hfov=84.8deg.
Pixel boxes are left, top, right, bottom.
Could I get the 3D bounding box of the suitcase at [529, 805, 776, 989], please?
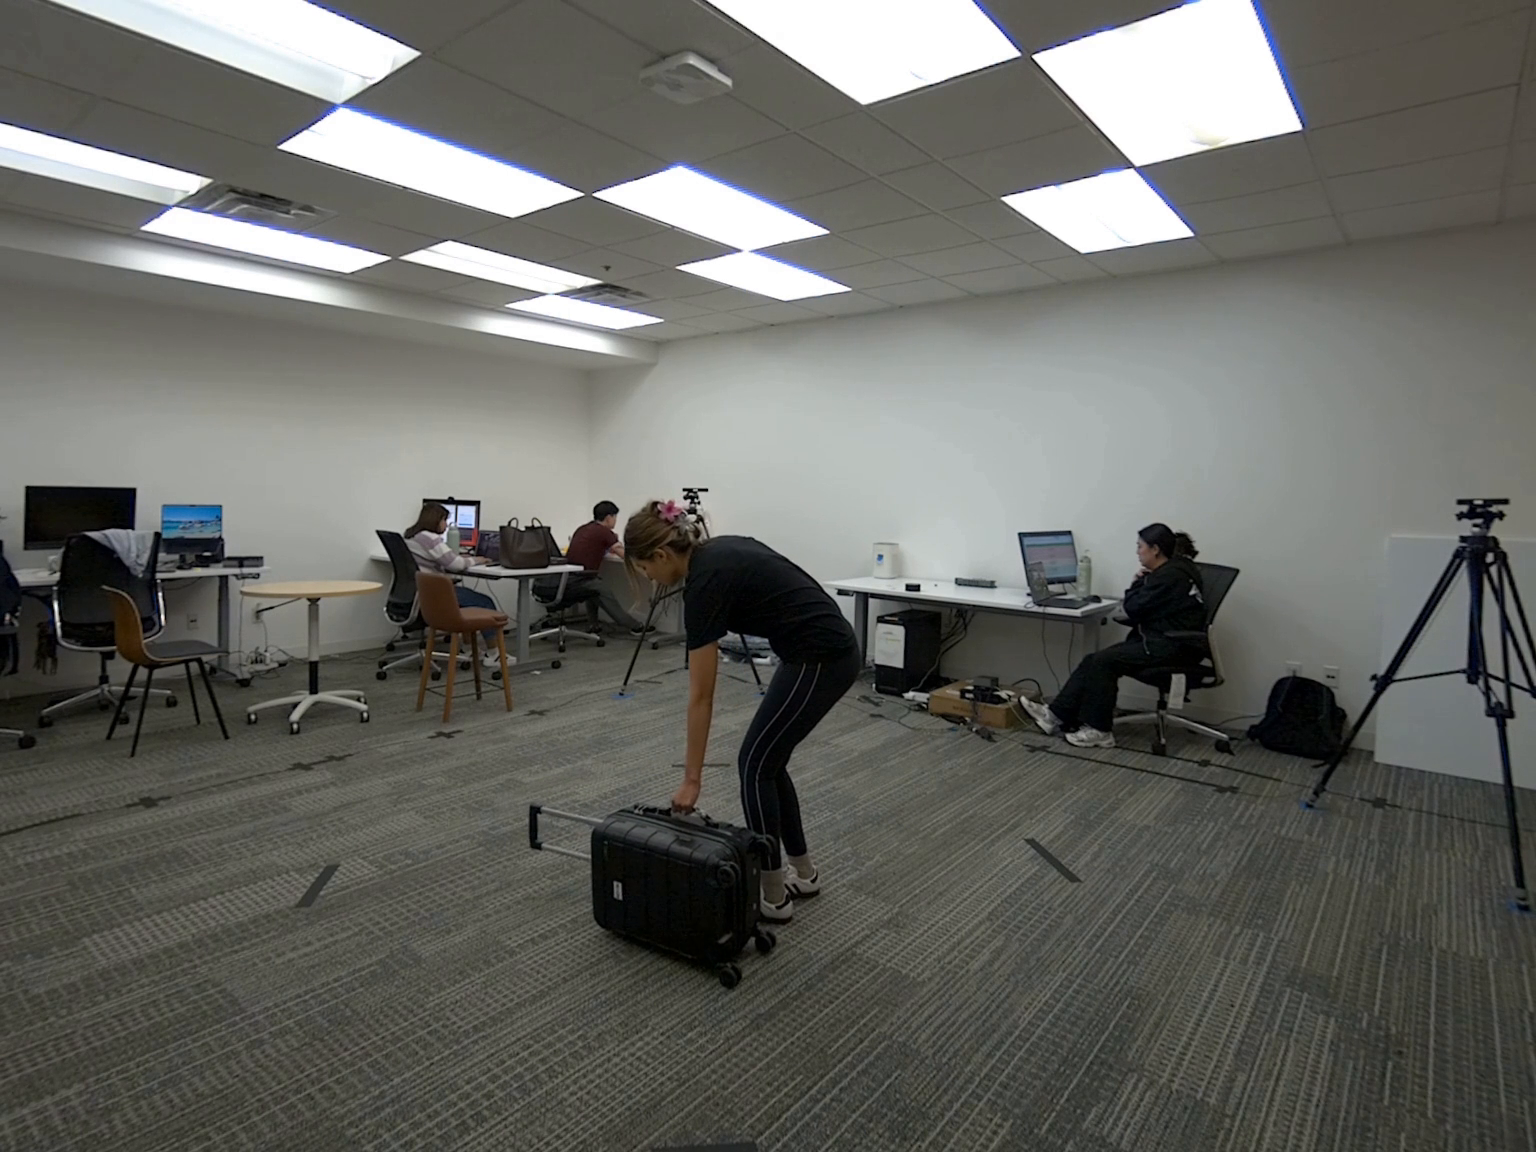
[{"bbox_3d":[-0.469,0.918,2.693,1.007,0.382,0.251,3,6,30],"label":"suitcase"}]
